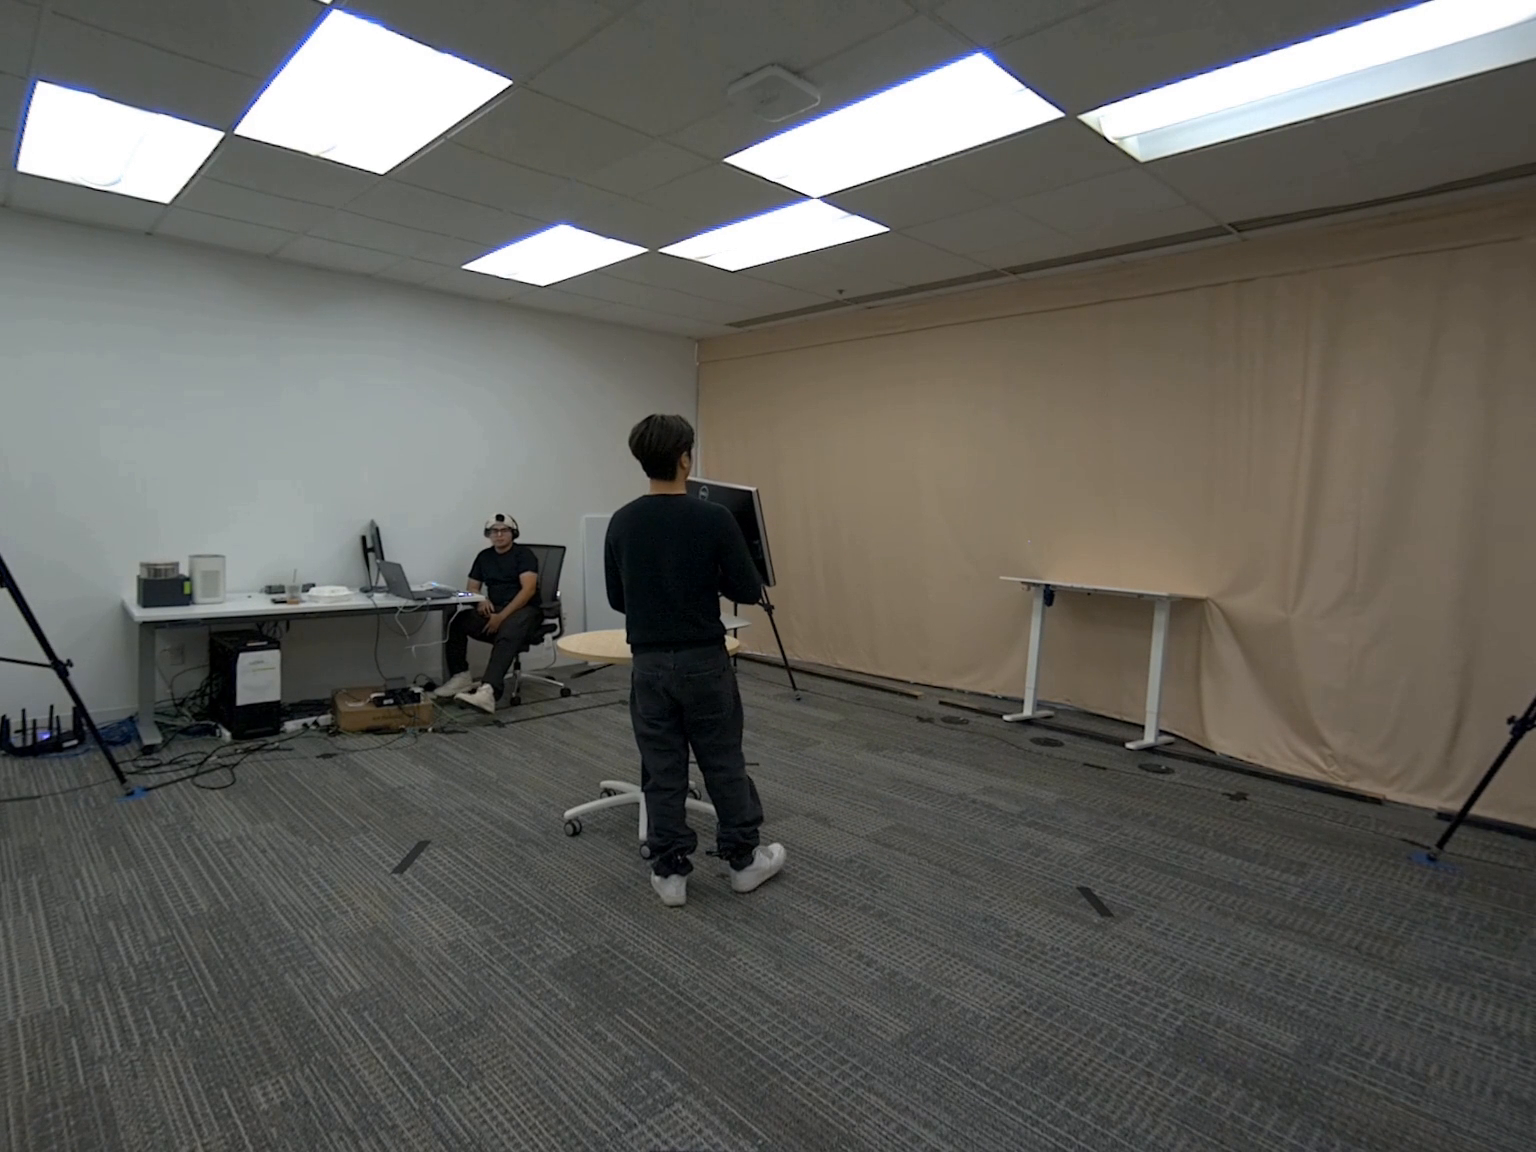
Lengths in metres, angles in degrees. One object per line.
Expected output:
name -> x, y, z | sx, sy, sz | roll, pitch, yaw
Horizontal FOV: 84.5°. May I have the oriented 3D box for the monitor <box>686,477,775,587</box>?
monitor -> -0.211, -0.089, 3.119 | 0.171, 0.513, 0.545 | -2, 11, -37
